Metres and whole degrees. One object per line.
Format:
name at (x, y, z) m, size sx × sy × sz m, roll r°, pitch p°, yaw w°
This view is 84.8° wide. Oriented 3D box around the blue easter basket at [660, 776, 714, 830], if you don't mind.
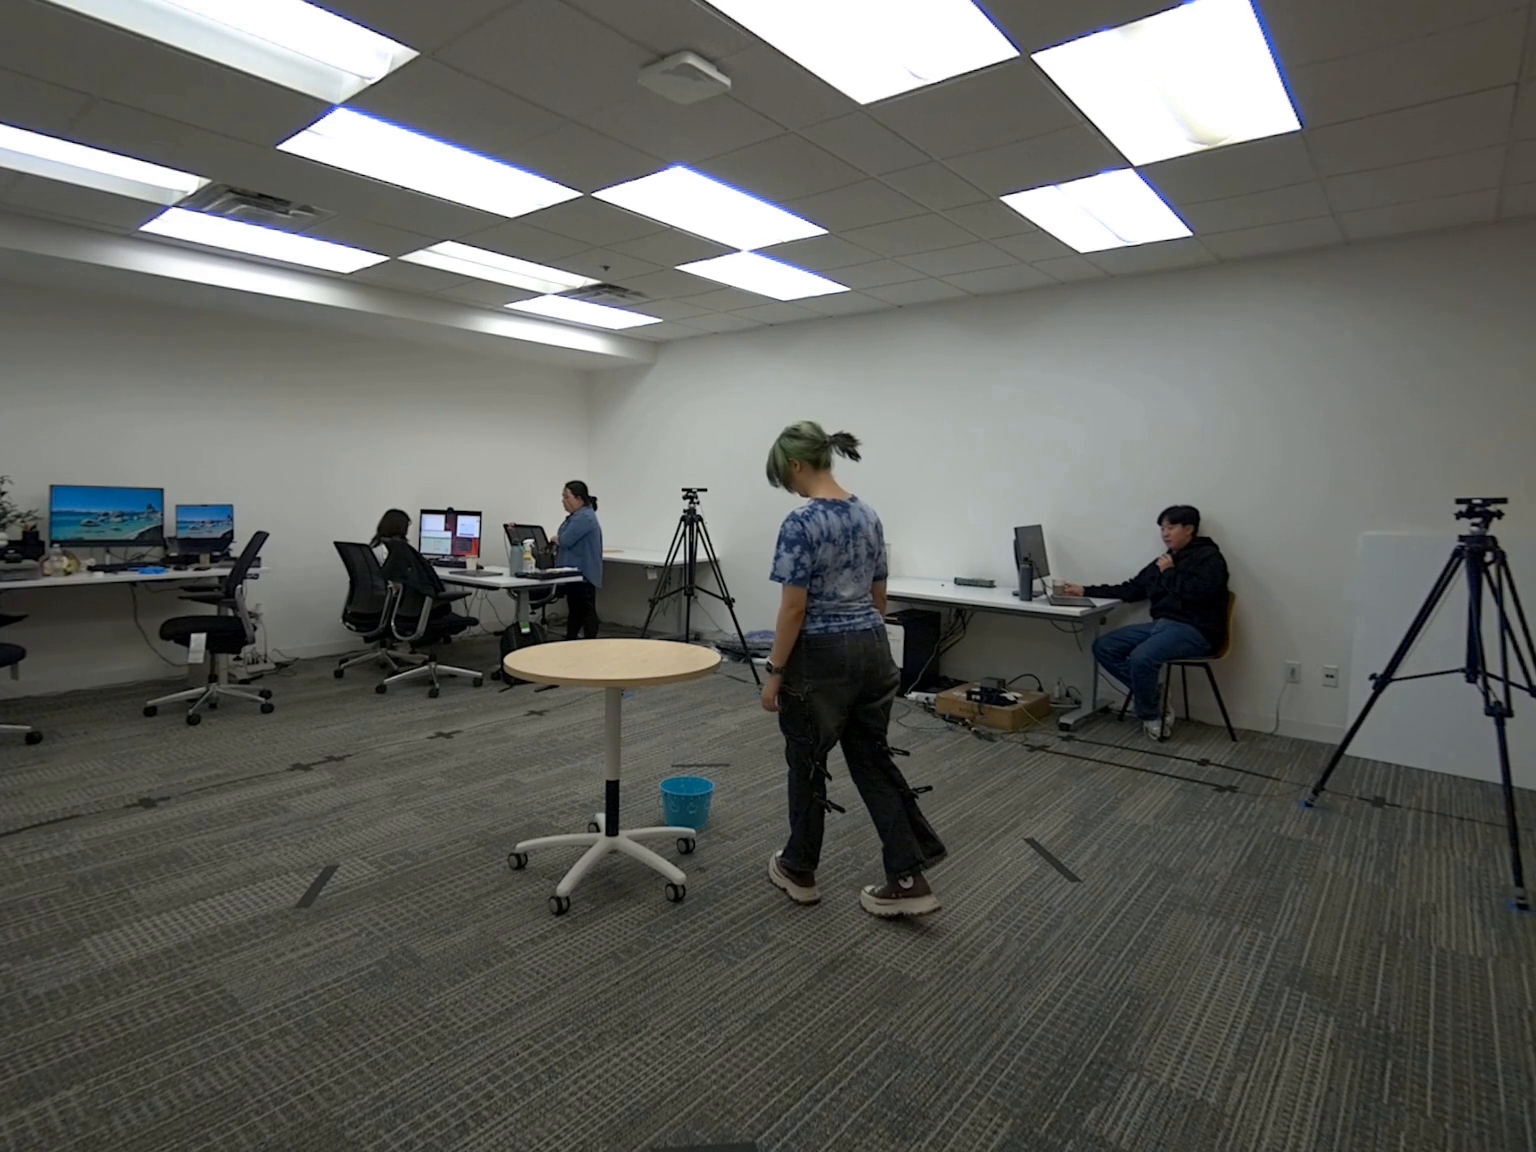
blue easter basket at (-0.350, 0.943, 3.570) m, size 0.243 × 0.155 × 0.245 m, roll 0°, pitch 6°, yaw -2°
